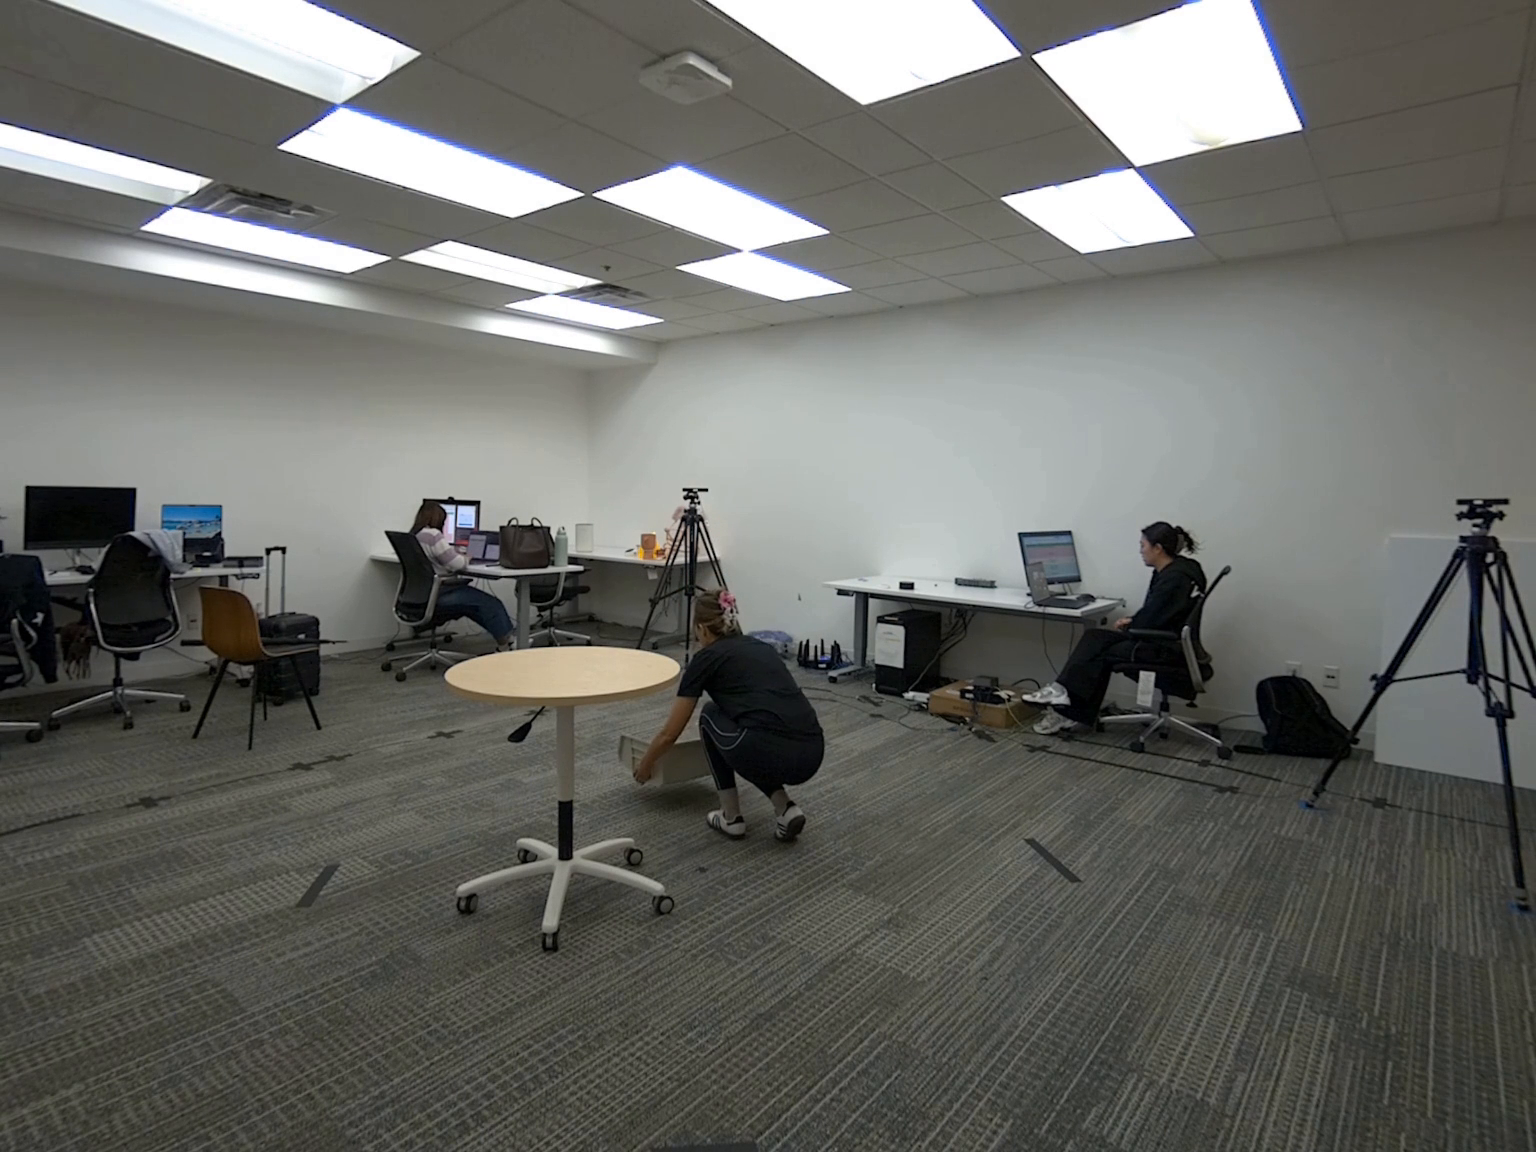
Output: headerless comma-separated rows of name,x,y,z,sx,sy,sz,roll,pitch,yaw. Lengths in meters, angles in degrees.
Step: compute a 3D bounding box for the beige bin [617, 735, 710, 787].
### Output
beige bin,-0.426,0.792,3.865,0.410,0.189,0.389,-1,2,-37
